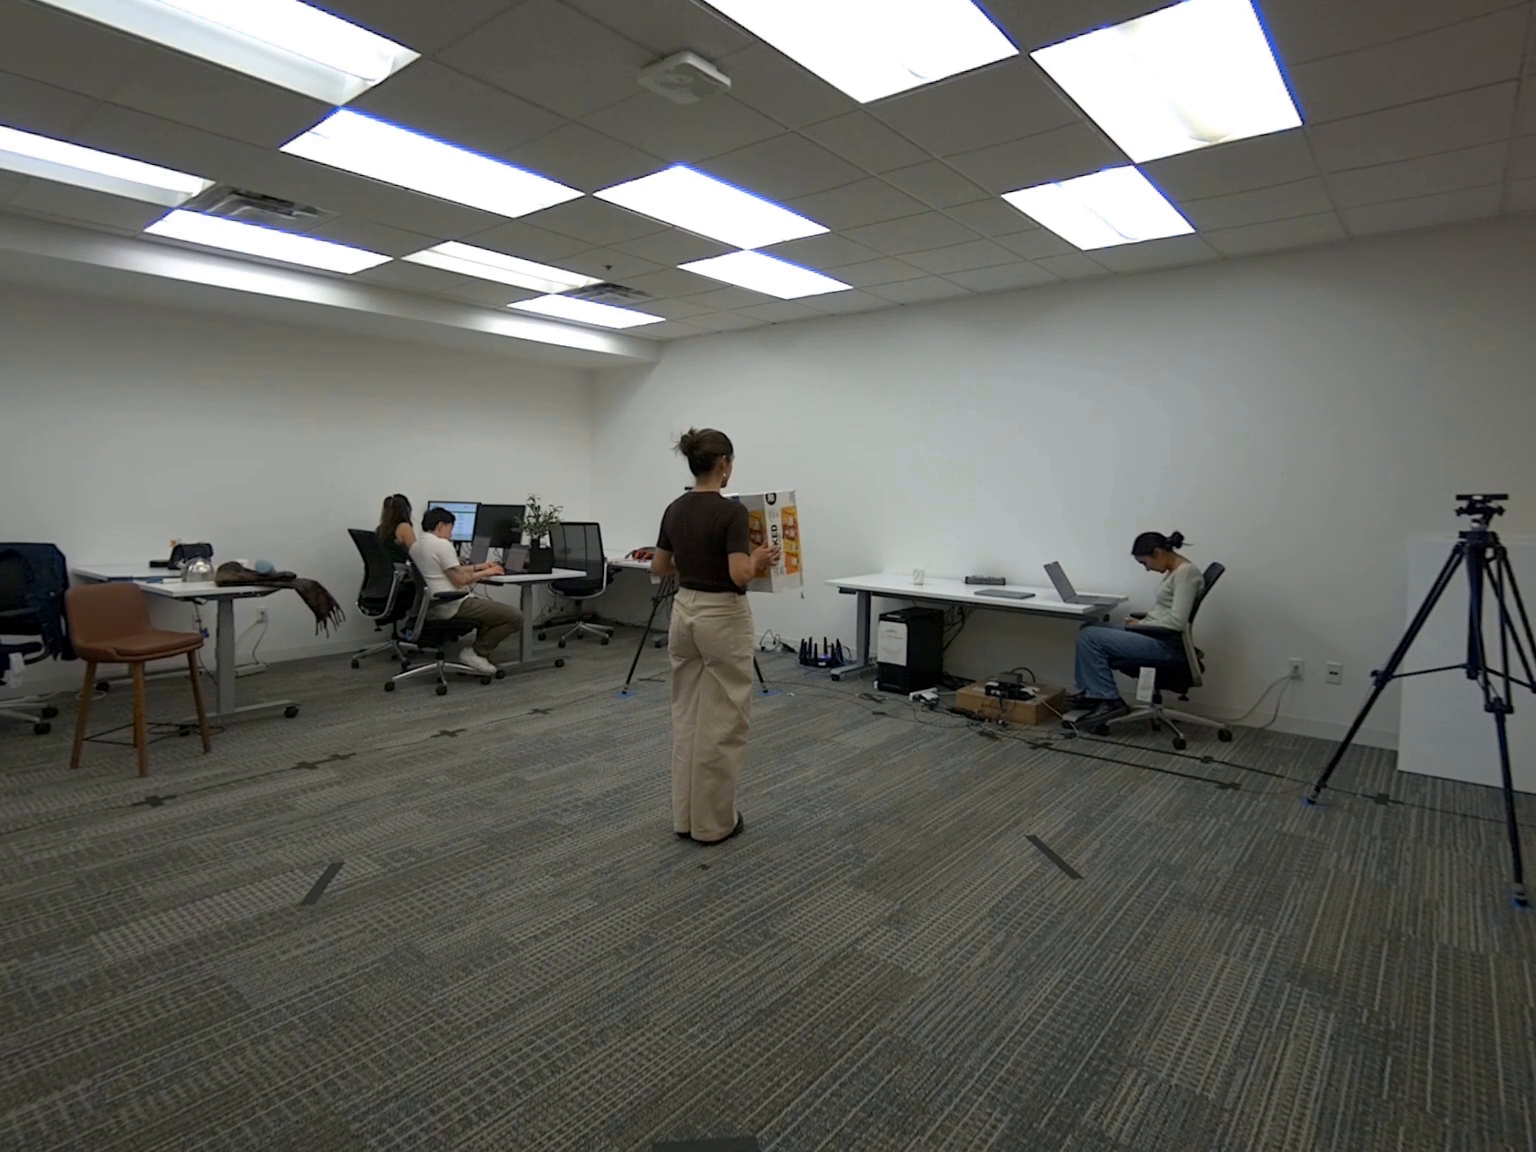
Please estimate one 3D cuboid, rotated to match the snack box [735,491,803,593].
[{"bbox_3d":[-0.067,-0.149,3.613,0.351,0.403,0.200,0,6,45],"label":"snack box"}]
